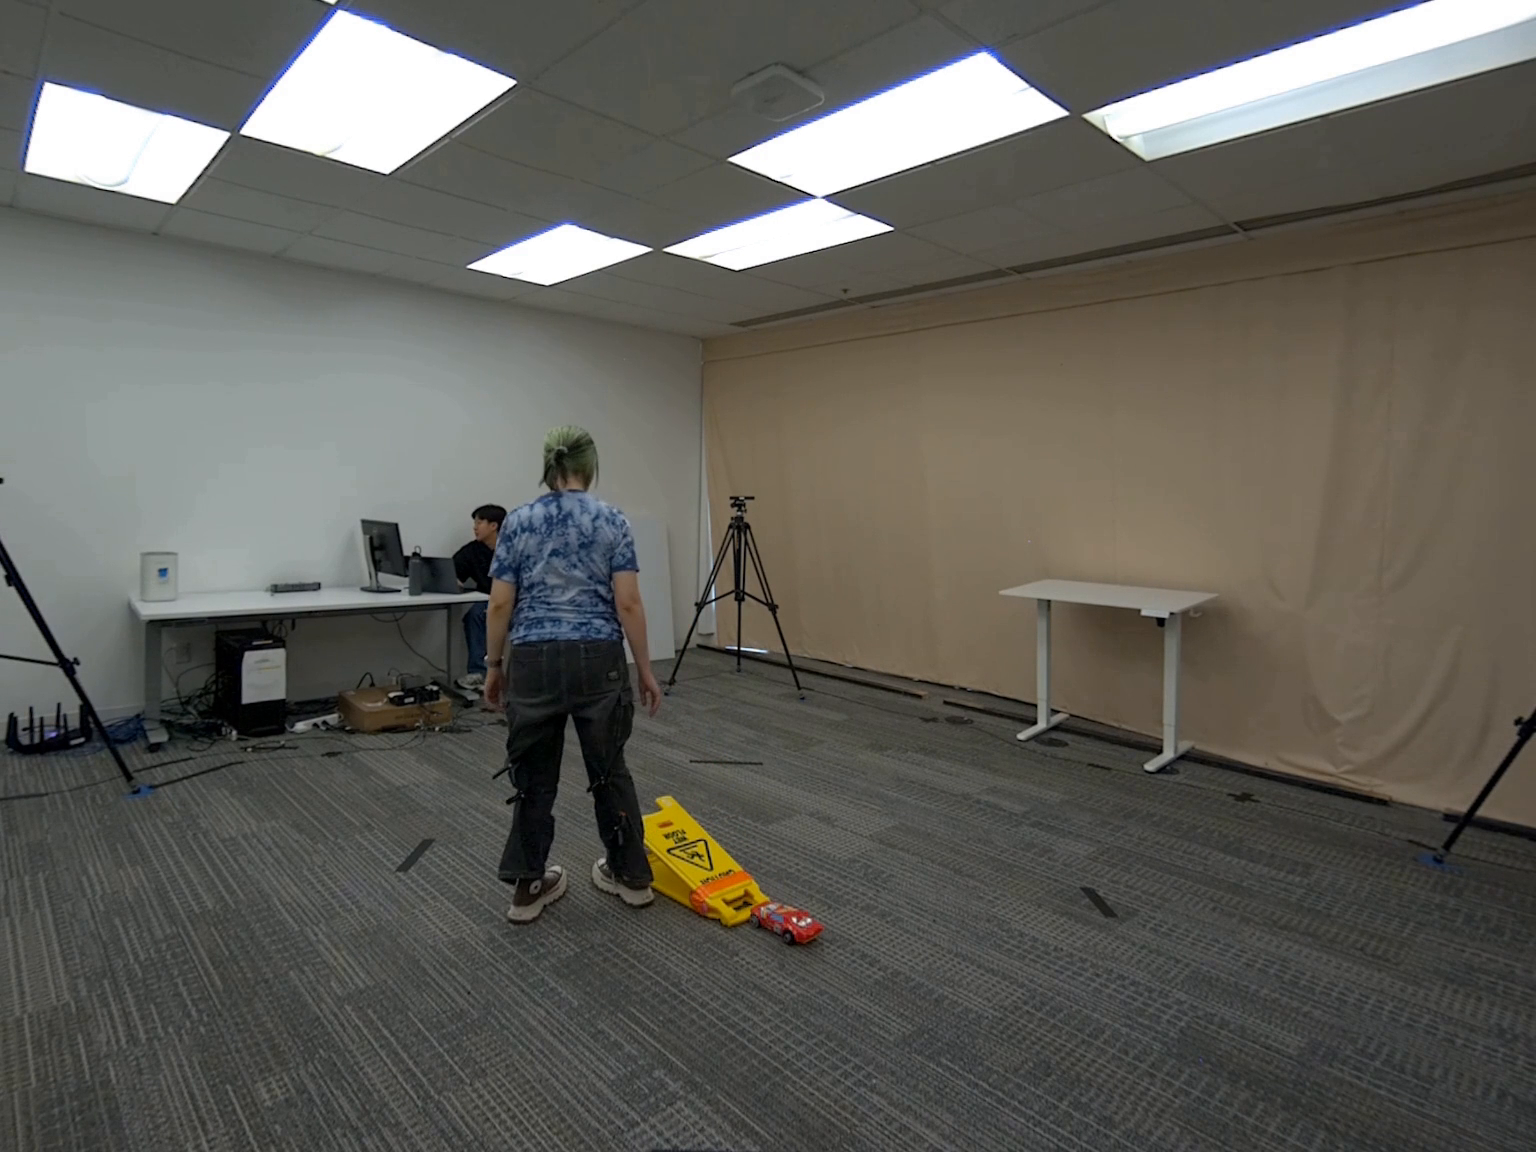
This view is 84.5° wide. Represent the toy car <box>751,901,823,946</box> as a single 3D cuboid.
[{"bbox_3d":[0.056,1.111,2.693,0.260,0.083,0.127,-8,-3,44],"label":"toy car"}]
